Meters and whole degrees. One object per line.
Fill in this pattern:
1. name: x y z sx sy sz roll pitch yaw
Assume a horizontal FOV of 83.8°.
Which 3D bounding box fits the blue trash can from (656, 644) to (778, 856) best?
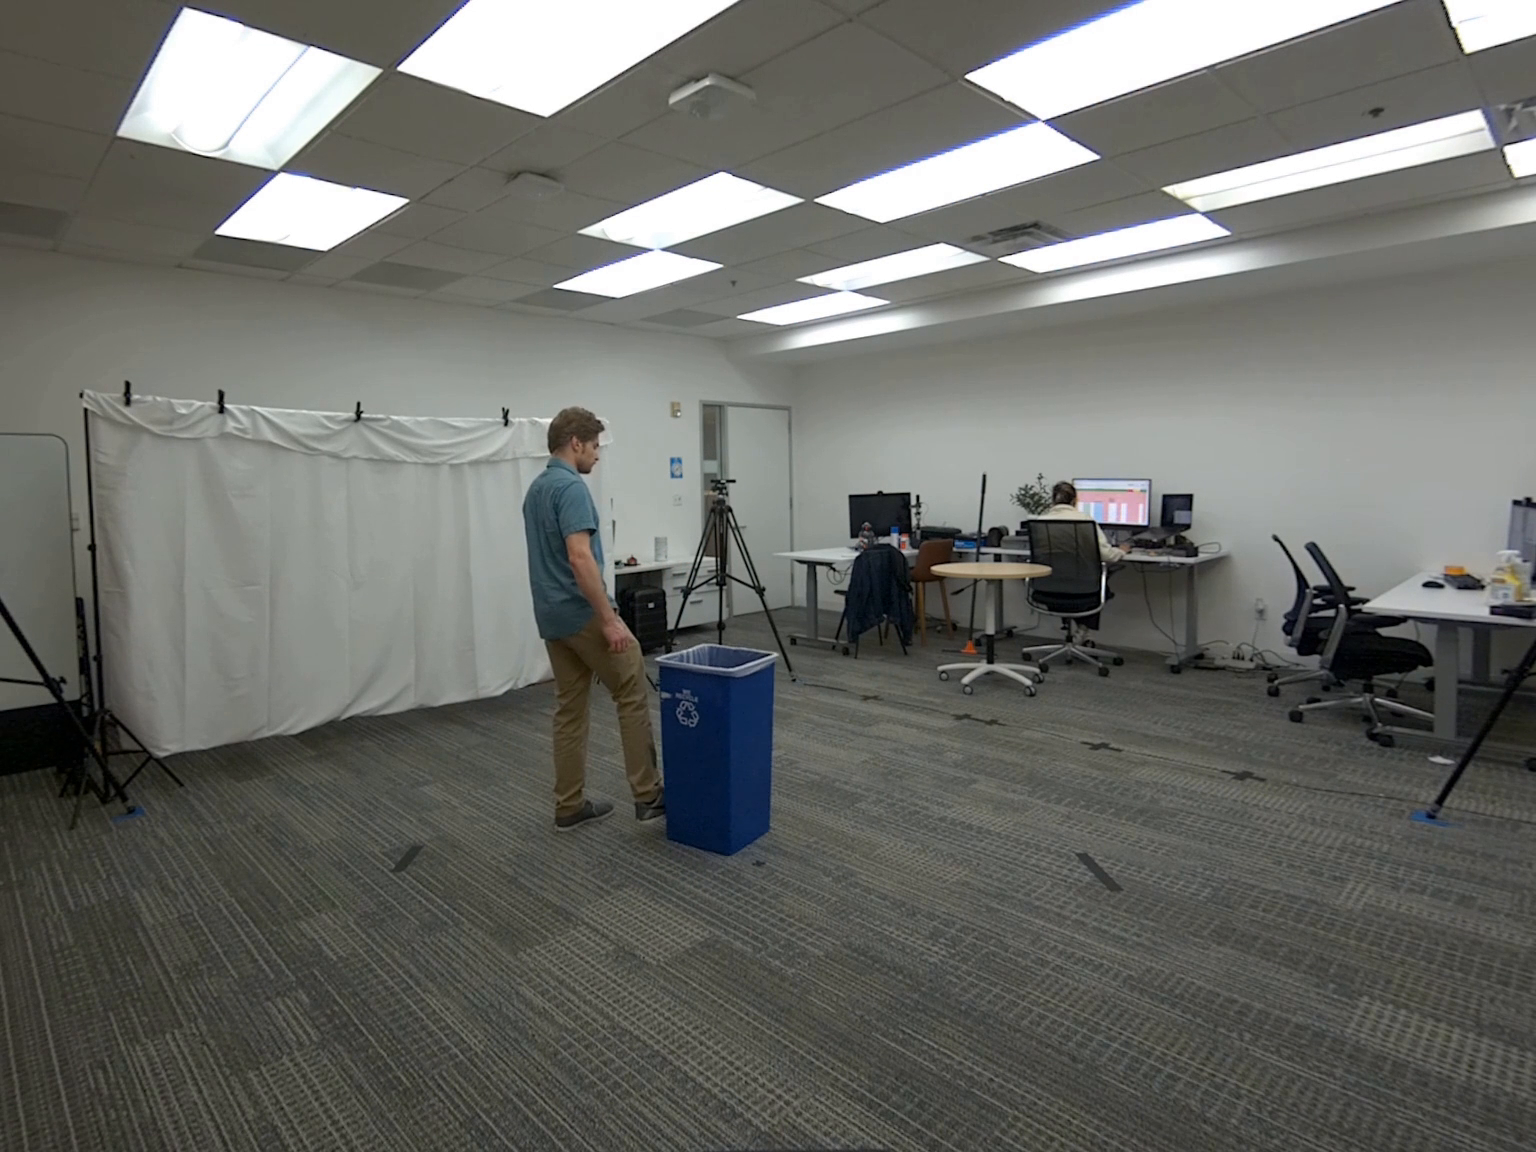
1. blue trash can: -0.178 0.665 3.340 0.384 0.711 0.369 1 5 32
